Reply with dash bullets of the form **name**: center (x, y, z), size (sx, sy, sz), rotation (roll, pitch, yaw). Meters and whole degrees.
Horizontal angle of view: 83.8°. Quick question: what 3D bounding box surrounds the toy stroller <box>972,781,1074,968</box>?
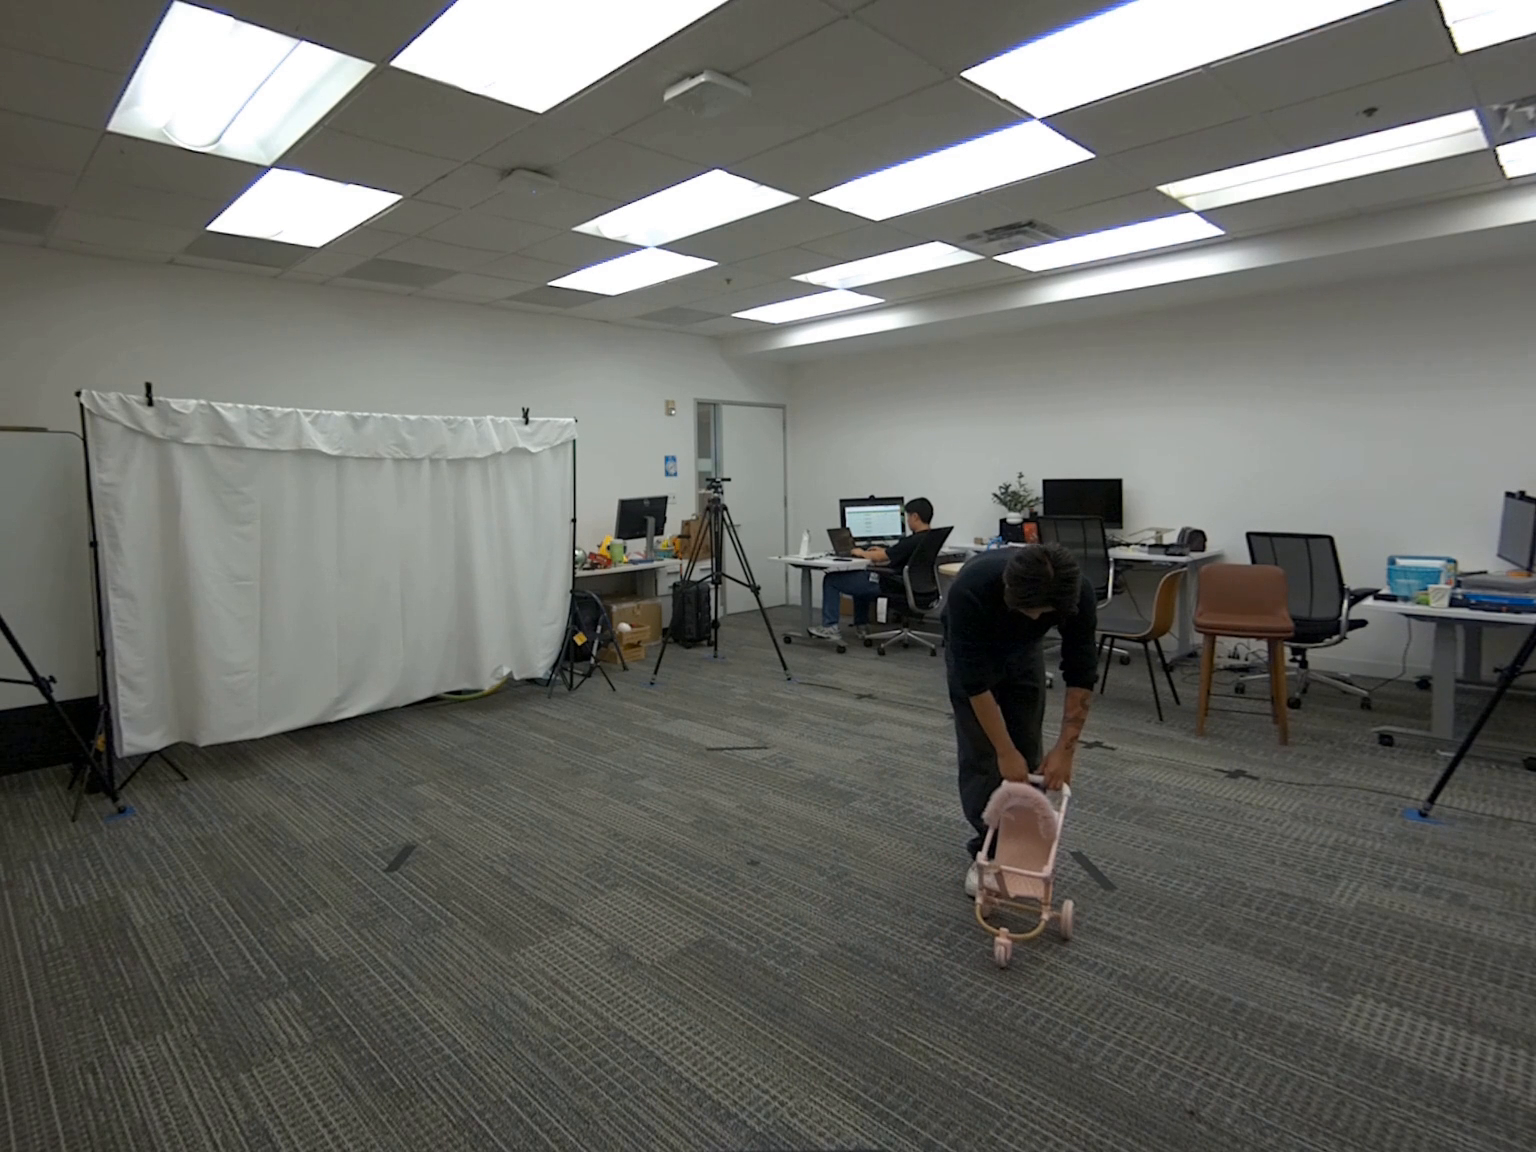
- **toy stroller**: center (0.760, 0.867, 2.572), size (0.289, 0.539, 0.329), rotation (1, -12, 36)
